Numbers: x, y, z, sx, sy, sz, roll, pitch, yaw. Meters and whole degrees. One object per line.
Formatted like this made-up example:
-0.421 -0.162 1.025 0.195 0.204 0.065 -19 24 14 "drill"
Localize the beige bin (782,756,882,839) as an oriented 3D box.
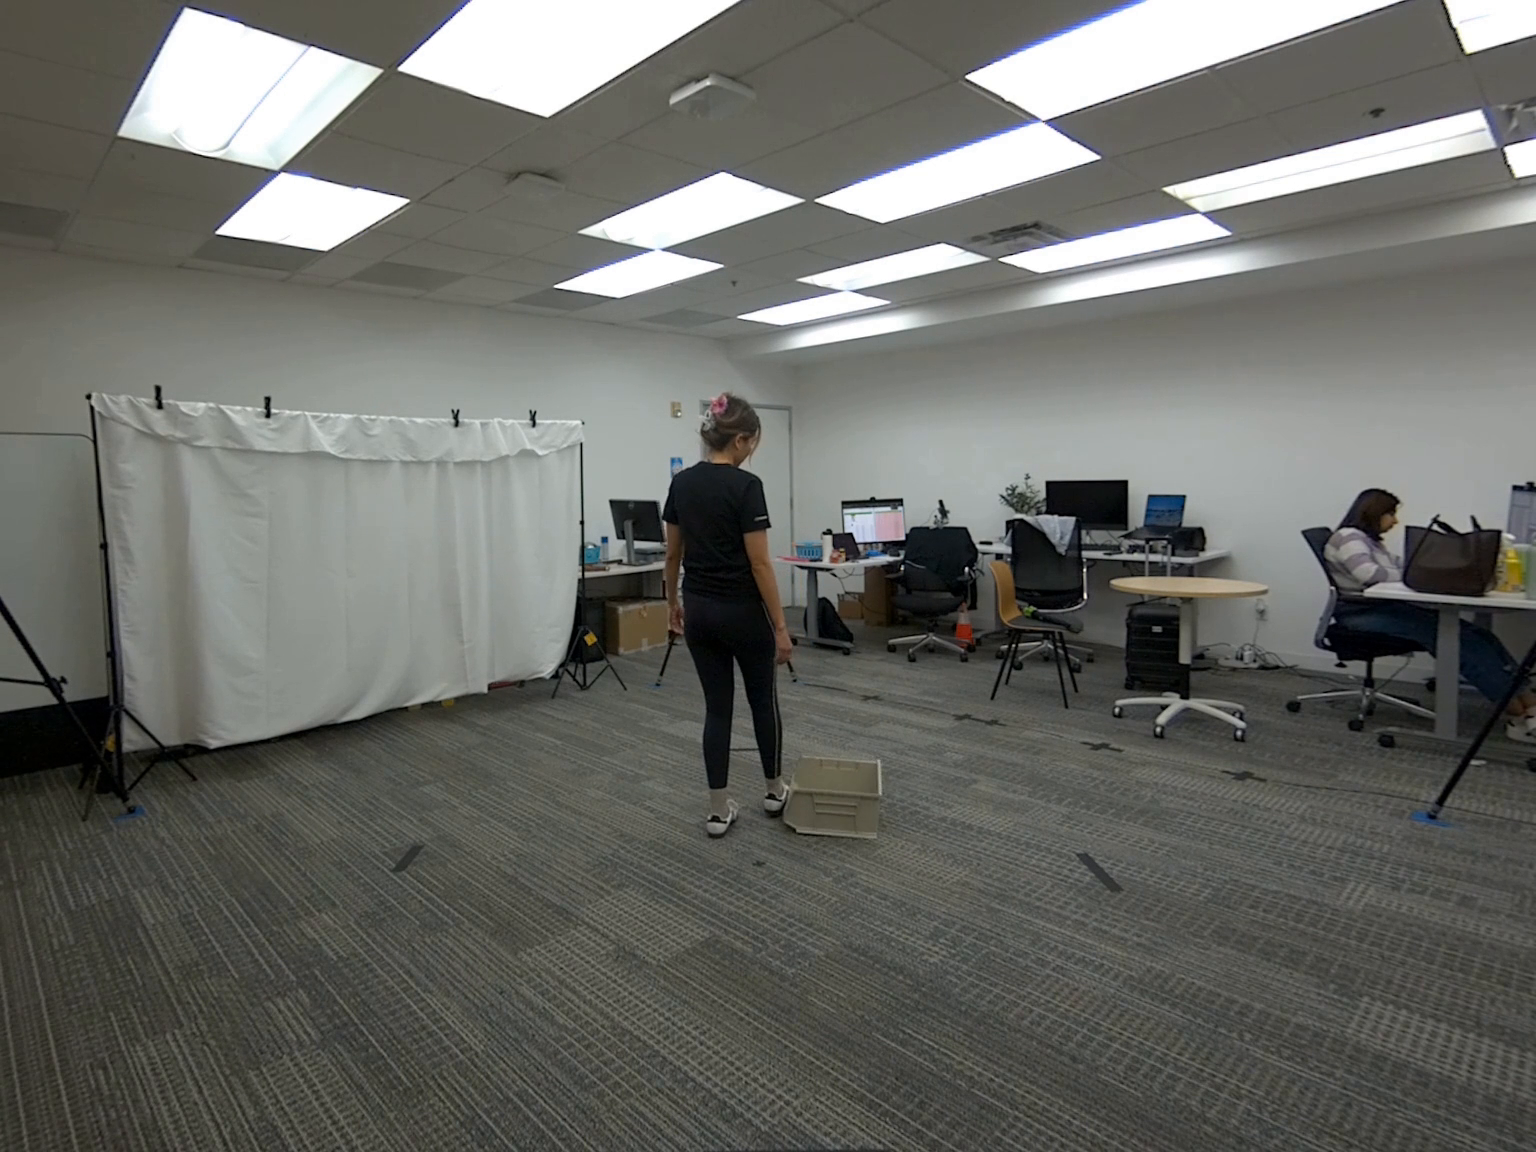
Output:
0.275 0.902 3.522 0.381 0.188 0.421 1 6 8 "beige bin"
